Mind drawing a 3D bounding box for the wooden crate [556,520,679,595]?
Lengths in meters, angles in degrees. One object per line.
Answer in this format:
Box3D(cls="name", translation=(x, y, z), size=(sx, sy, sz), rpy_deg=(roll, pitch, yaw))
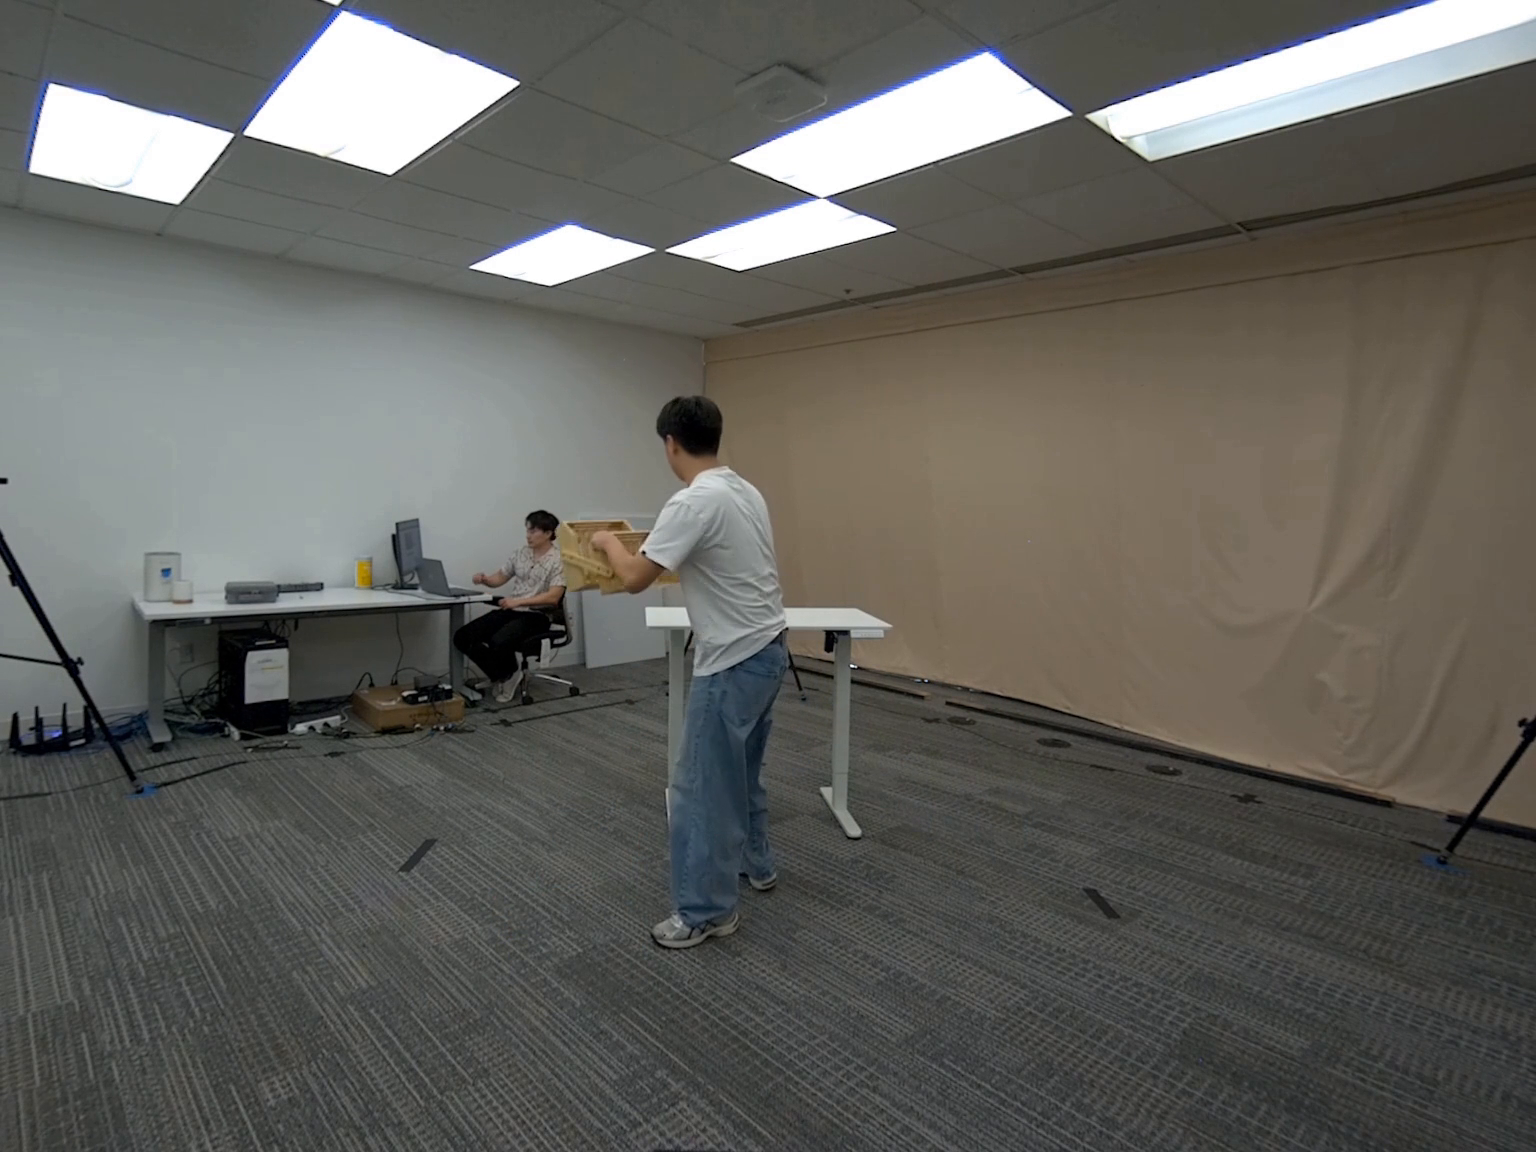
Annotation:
Box3D(cls="wooden crate", translation=(-0.527, -0.052, 3.017), size=(0.277, 0.304, 0.317), rpy_deg=(-19, -9, 38))
